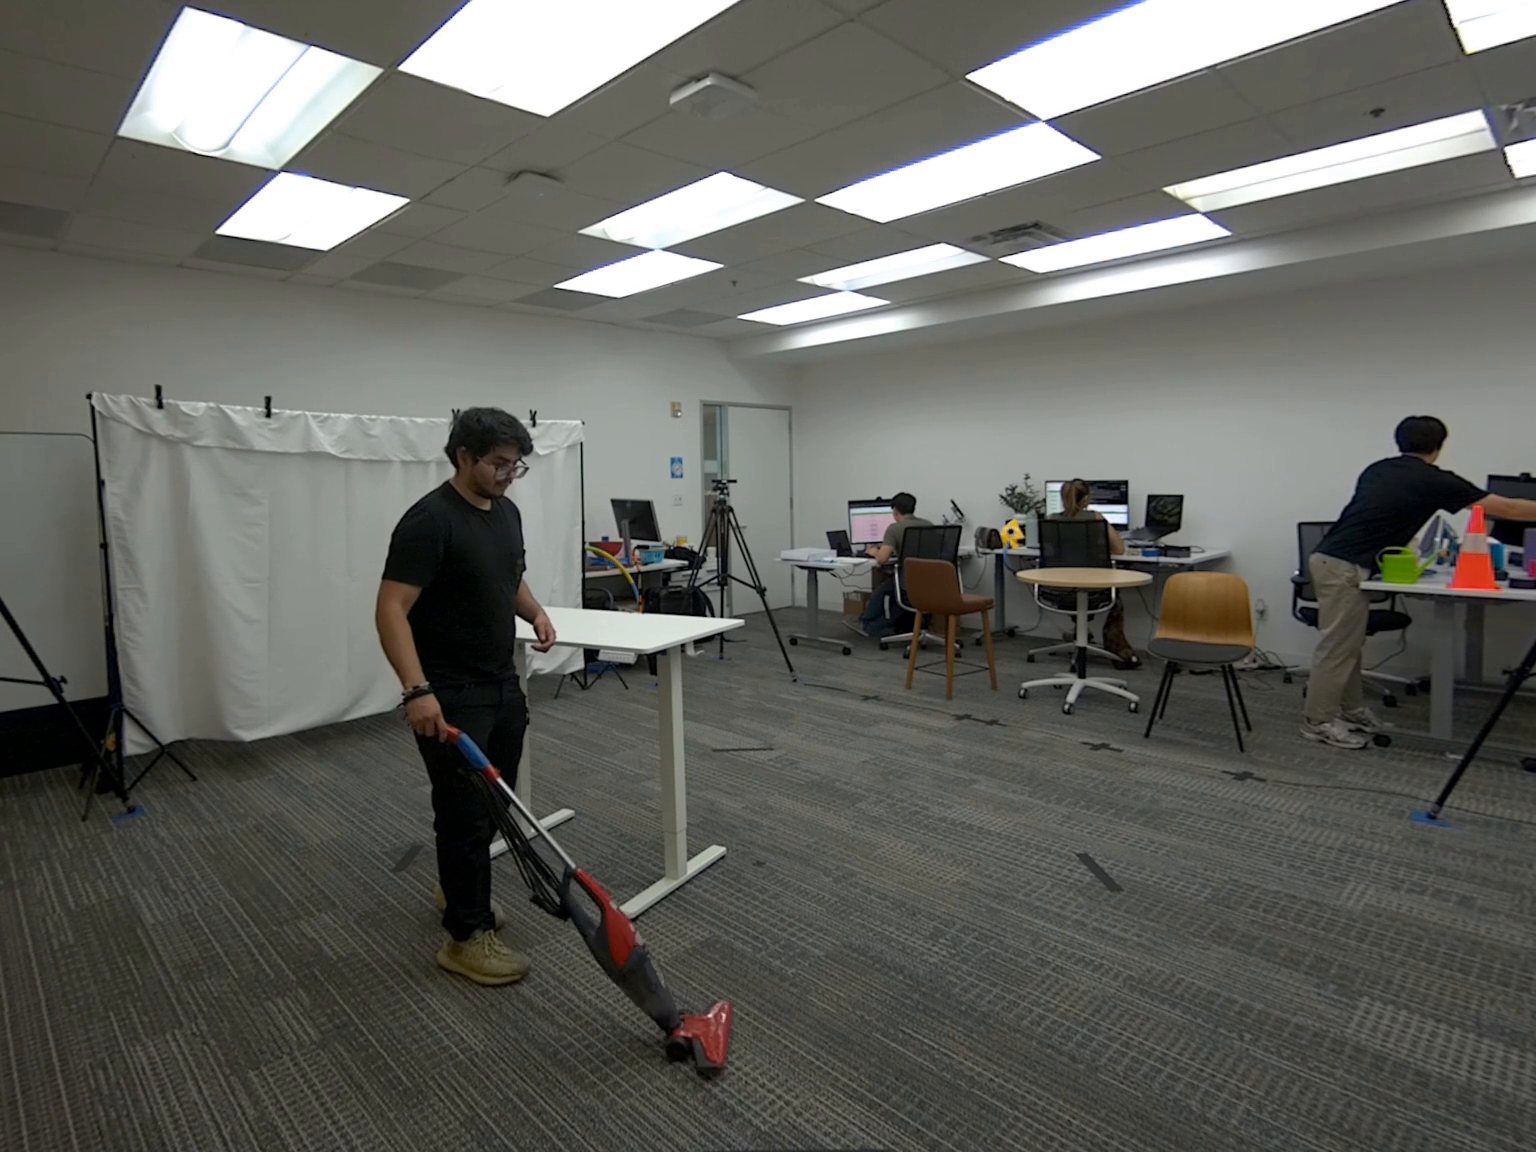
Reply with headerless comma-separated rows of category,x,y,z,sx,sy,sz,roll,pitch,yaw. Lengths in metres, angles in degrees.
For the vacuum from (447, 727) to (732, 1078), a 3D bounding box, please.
vacuum,-0.498,0.769,2.143,0.144,1.054,0.251,-42,-3,4
